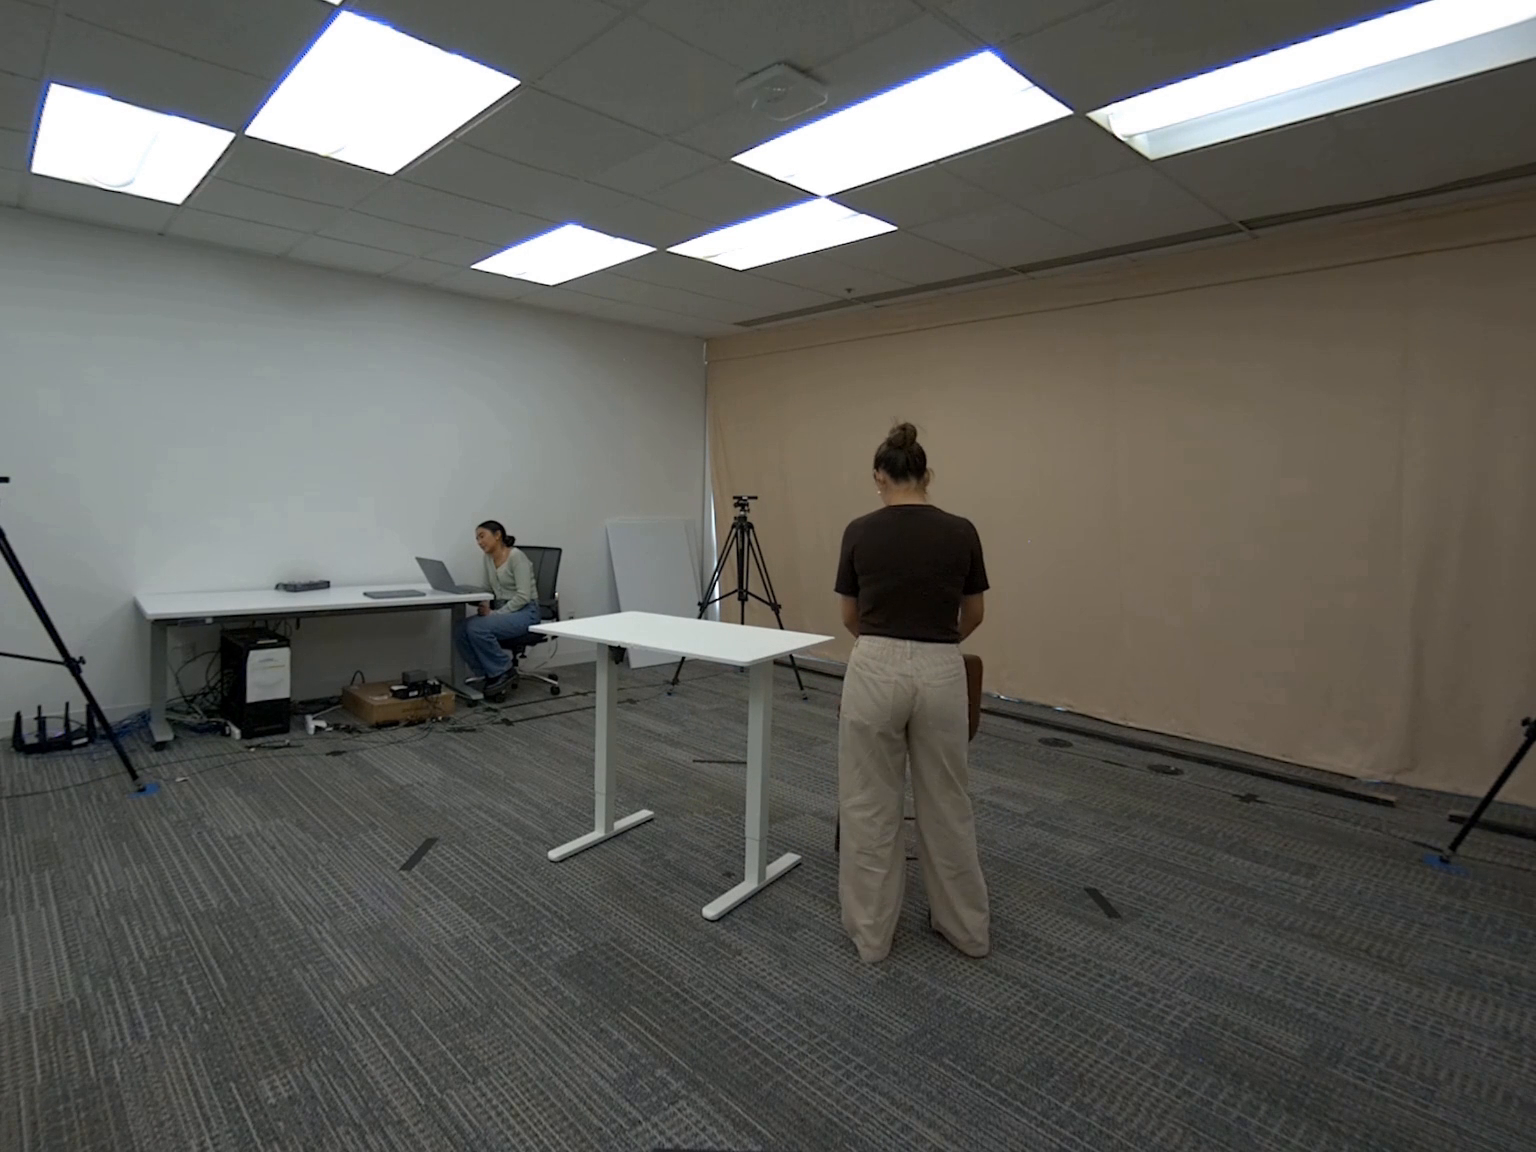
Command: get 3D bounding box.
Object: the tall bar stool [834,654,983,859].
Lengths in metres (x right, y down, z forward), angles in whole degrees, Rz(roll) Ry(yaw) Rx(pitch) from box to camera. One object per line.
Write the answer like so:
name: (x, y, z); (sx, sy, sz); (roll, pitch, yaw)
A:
tall bar stool: (0.511, 0.682, 3.106); (0.454, 0.886, 0.471); (1, 5, -6)
